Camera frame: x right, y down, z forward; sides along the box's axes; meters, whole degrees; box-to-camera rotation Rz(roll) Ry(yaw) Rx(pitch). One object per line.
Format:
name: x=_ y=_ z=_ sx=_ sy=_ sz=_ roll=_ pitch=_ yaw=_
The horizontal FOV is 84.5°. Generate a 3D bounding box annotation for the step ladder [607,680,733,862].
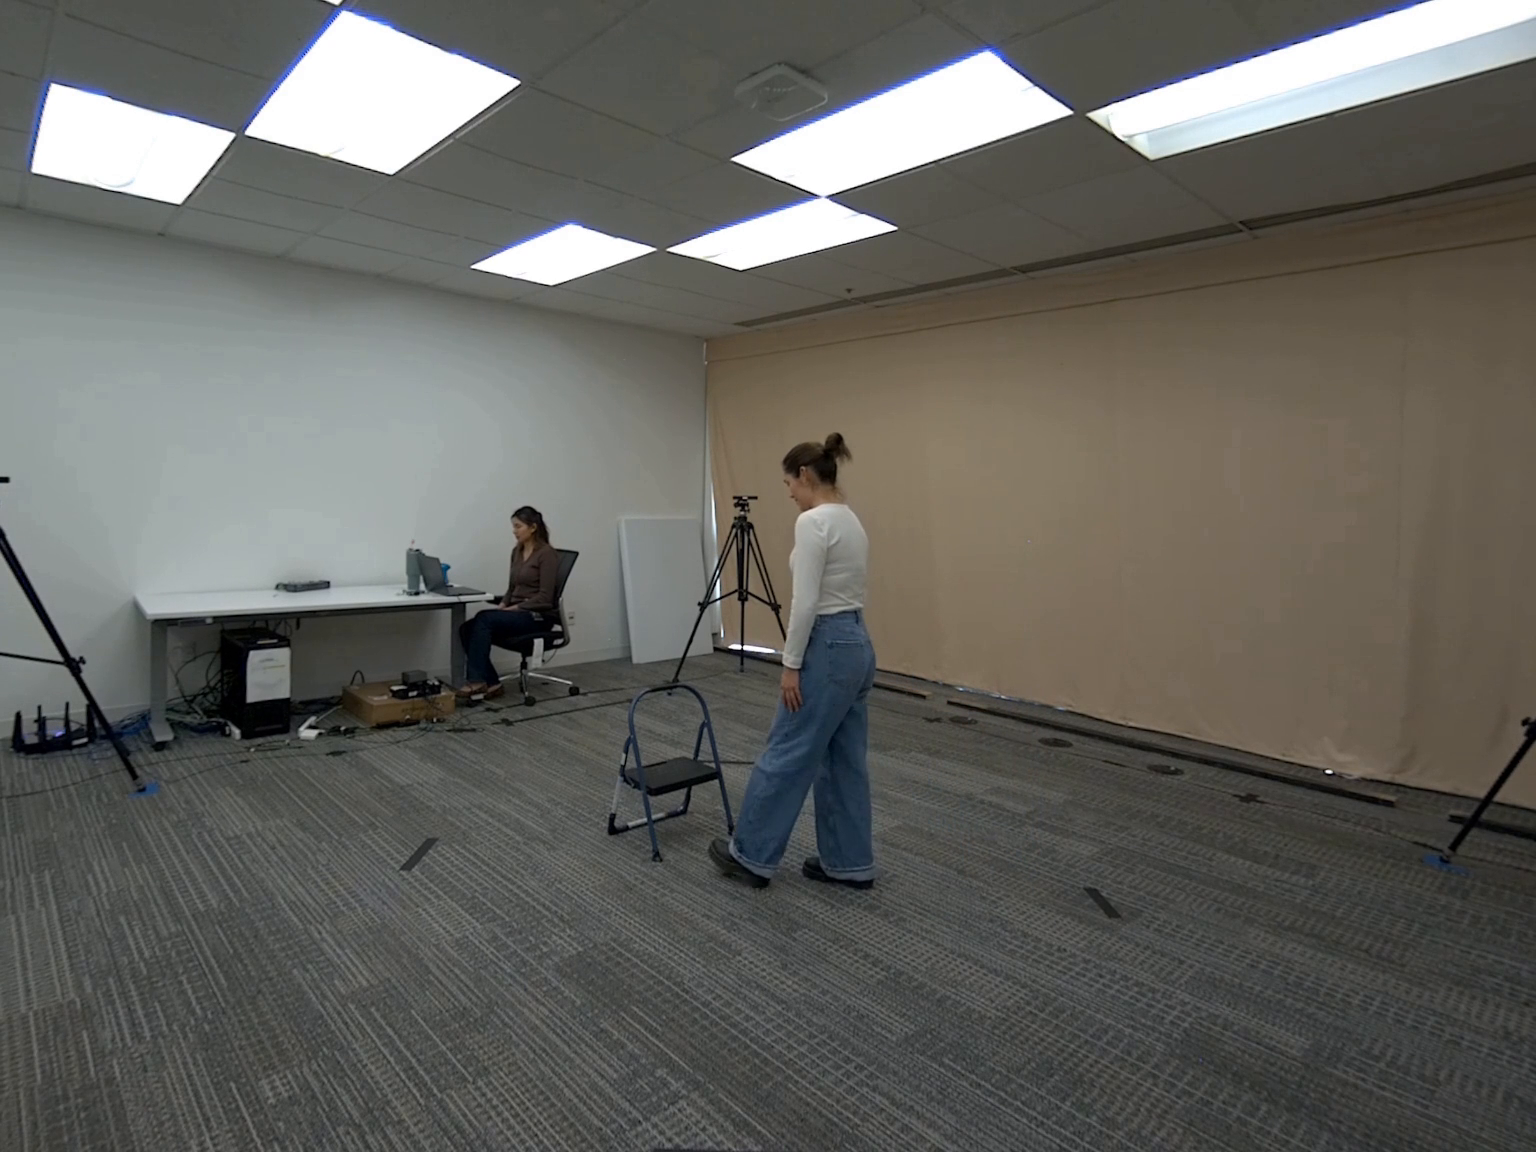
step ladder: x=-0.390 y=0.764 z=3.448 sx=0.420 sy=0.604 sz=0.358 roll=-2 pitch=5 yaw=-45
